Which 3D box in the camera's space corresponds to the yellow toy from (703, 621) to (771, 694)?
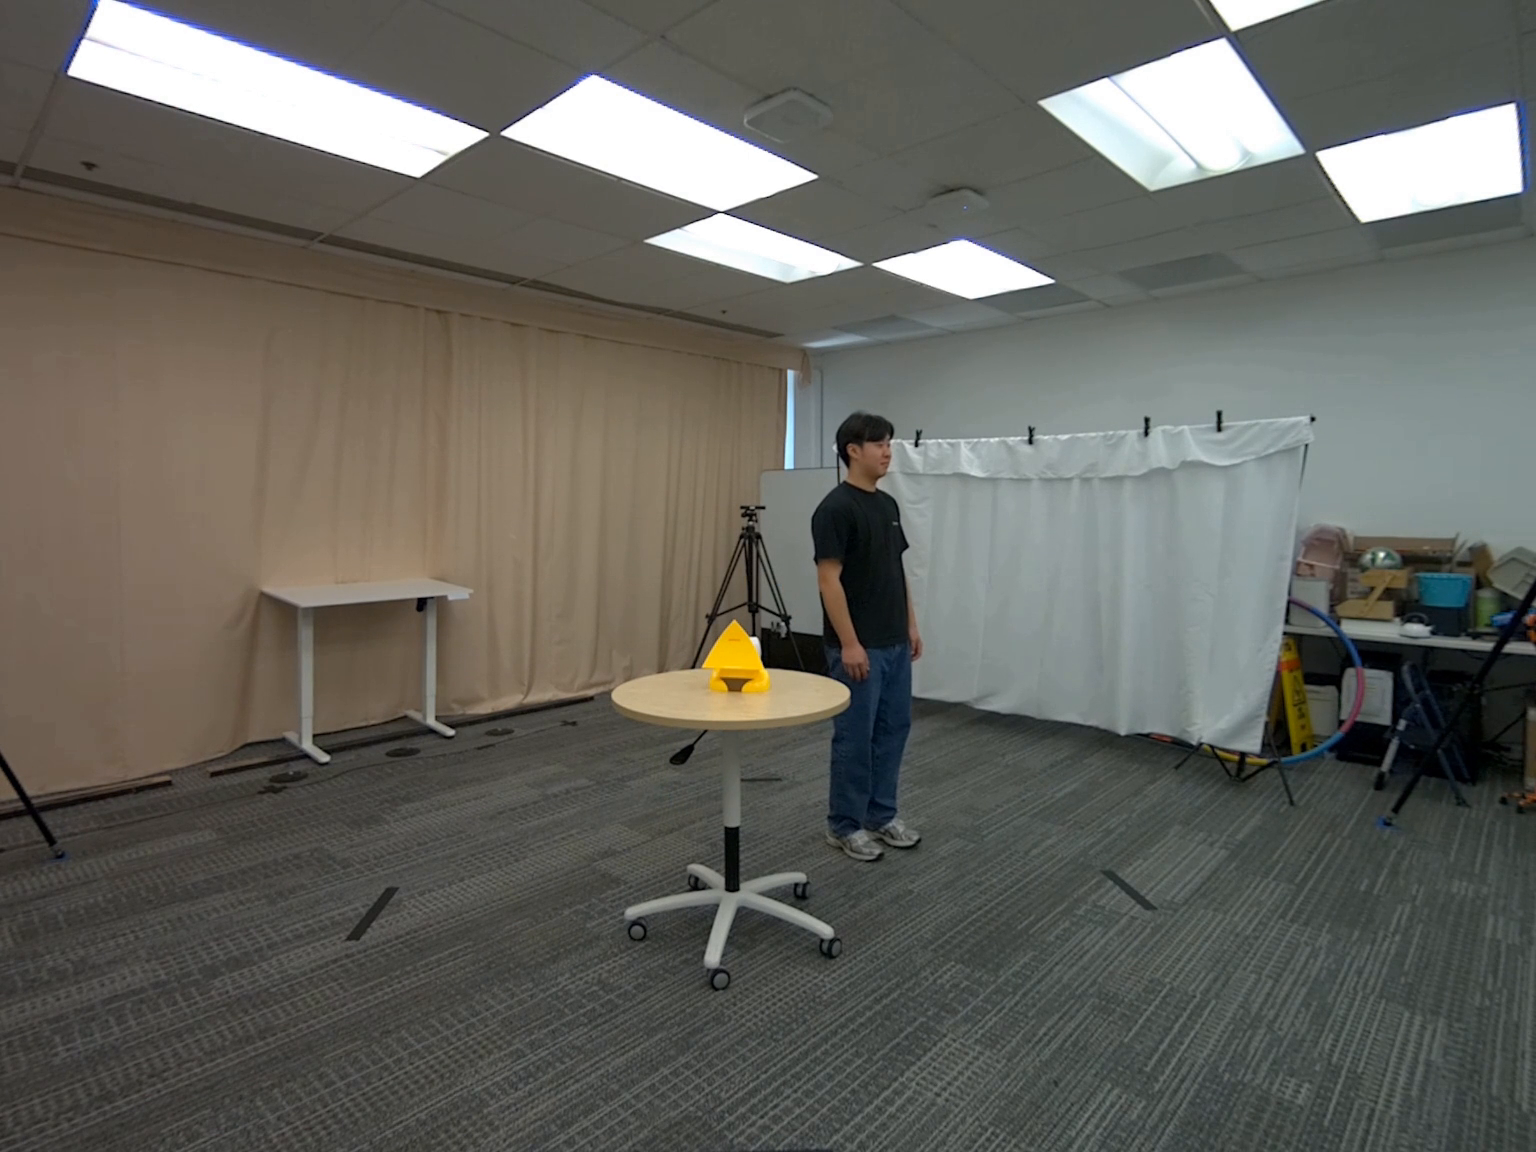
[{"bbox_3d":[-0.092,0.250,2.765,0.208,0.230,0.191,1,4,12],"label":"yellow toy"}]
